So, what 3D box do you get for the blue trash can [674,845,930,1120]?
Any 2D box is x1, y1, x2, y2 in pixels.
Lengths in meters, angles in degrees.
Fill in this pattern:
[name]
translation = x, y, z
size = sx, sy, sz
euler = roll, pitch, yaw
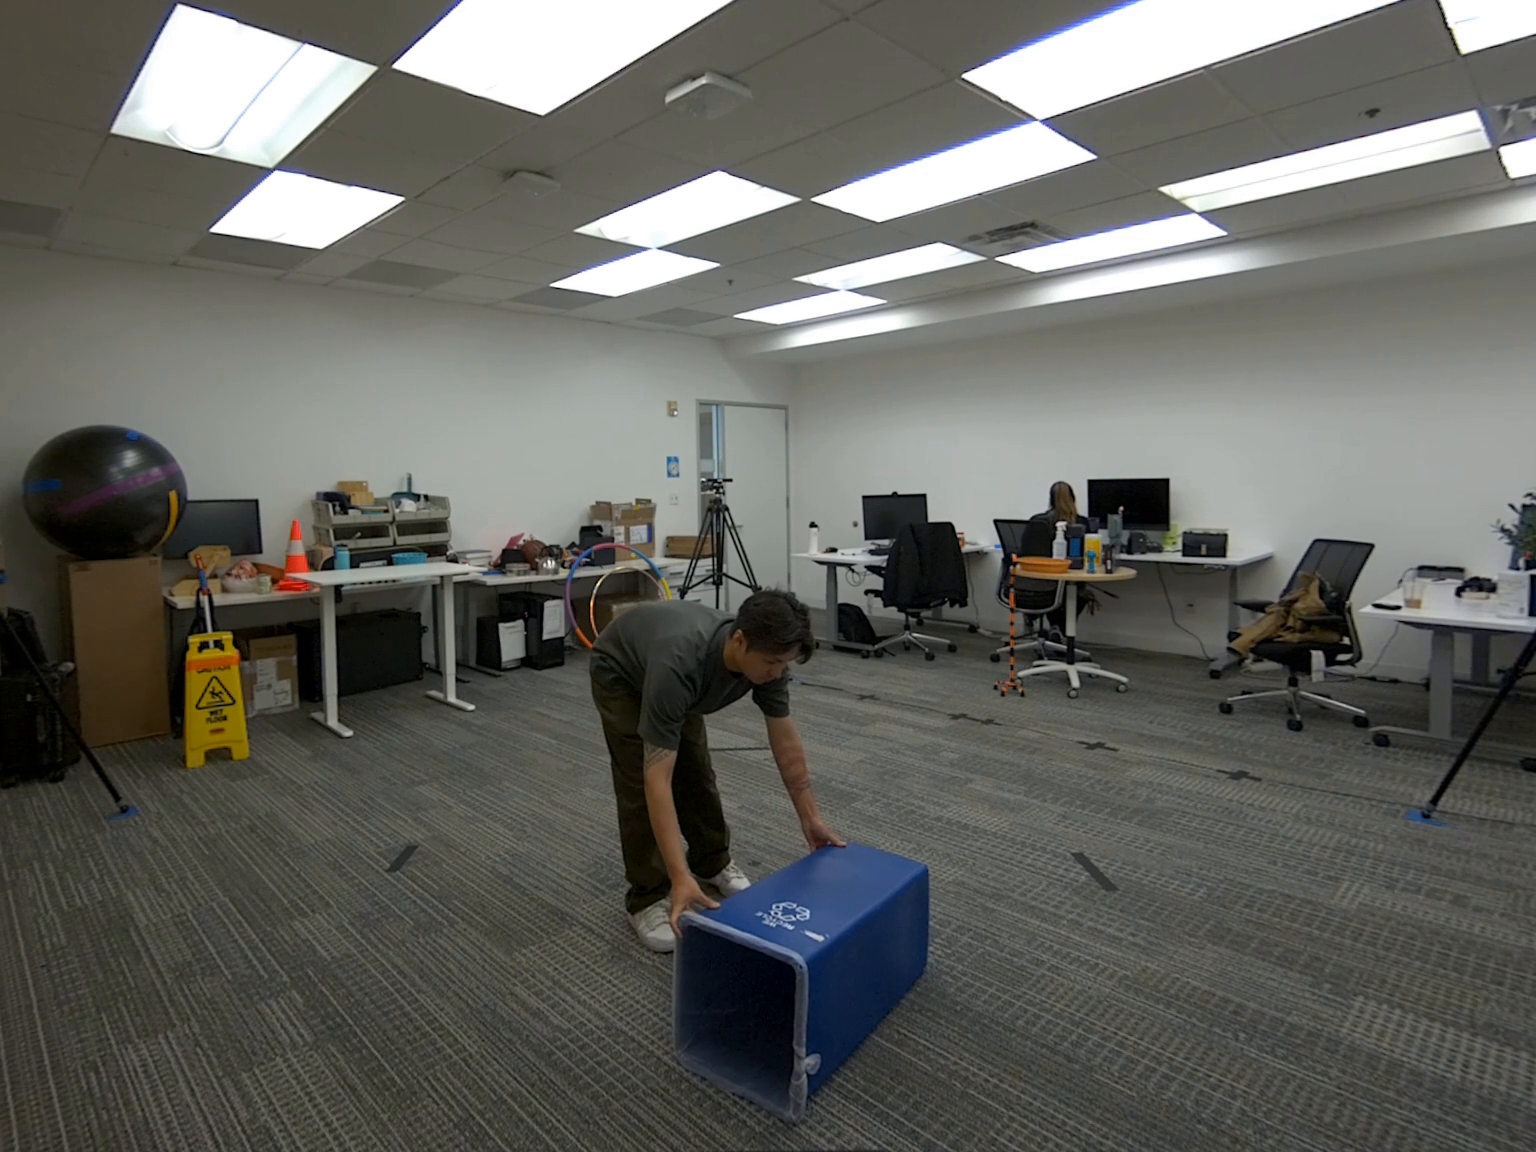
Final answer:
[blue trash can]
translation = 0.135, 0.972, 2.217
size = 0.389, 0.373, 0.695
euler = 2, 5, 36
